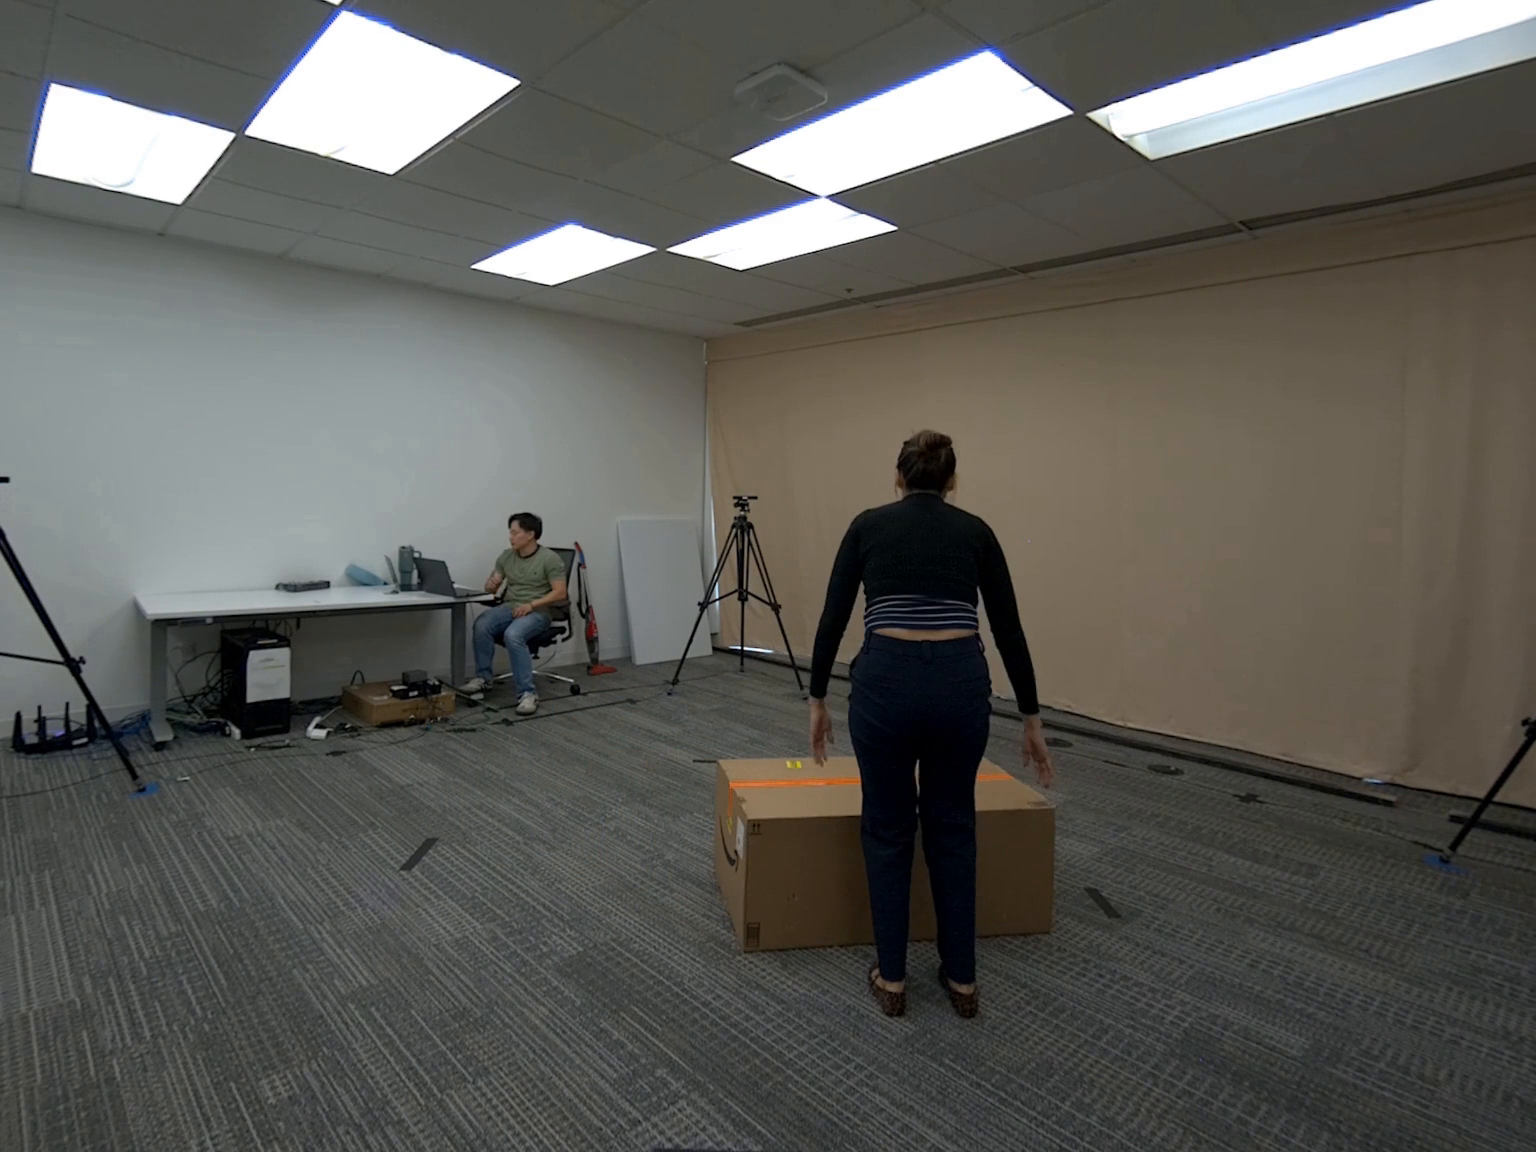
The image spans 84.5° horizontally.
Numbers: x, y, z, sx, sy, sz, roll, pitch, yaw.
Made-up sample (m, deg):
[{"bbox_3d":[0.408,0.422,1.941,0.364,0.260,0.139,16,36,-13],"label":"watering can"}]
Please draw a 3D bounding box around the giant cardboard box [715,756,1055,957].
[{"bbox_3d":[0.362,0.916,2.919,1.017,0.425,0.584,1,4,-11],"label":"giant cardboard box"}]
